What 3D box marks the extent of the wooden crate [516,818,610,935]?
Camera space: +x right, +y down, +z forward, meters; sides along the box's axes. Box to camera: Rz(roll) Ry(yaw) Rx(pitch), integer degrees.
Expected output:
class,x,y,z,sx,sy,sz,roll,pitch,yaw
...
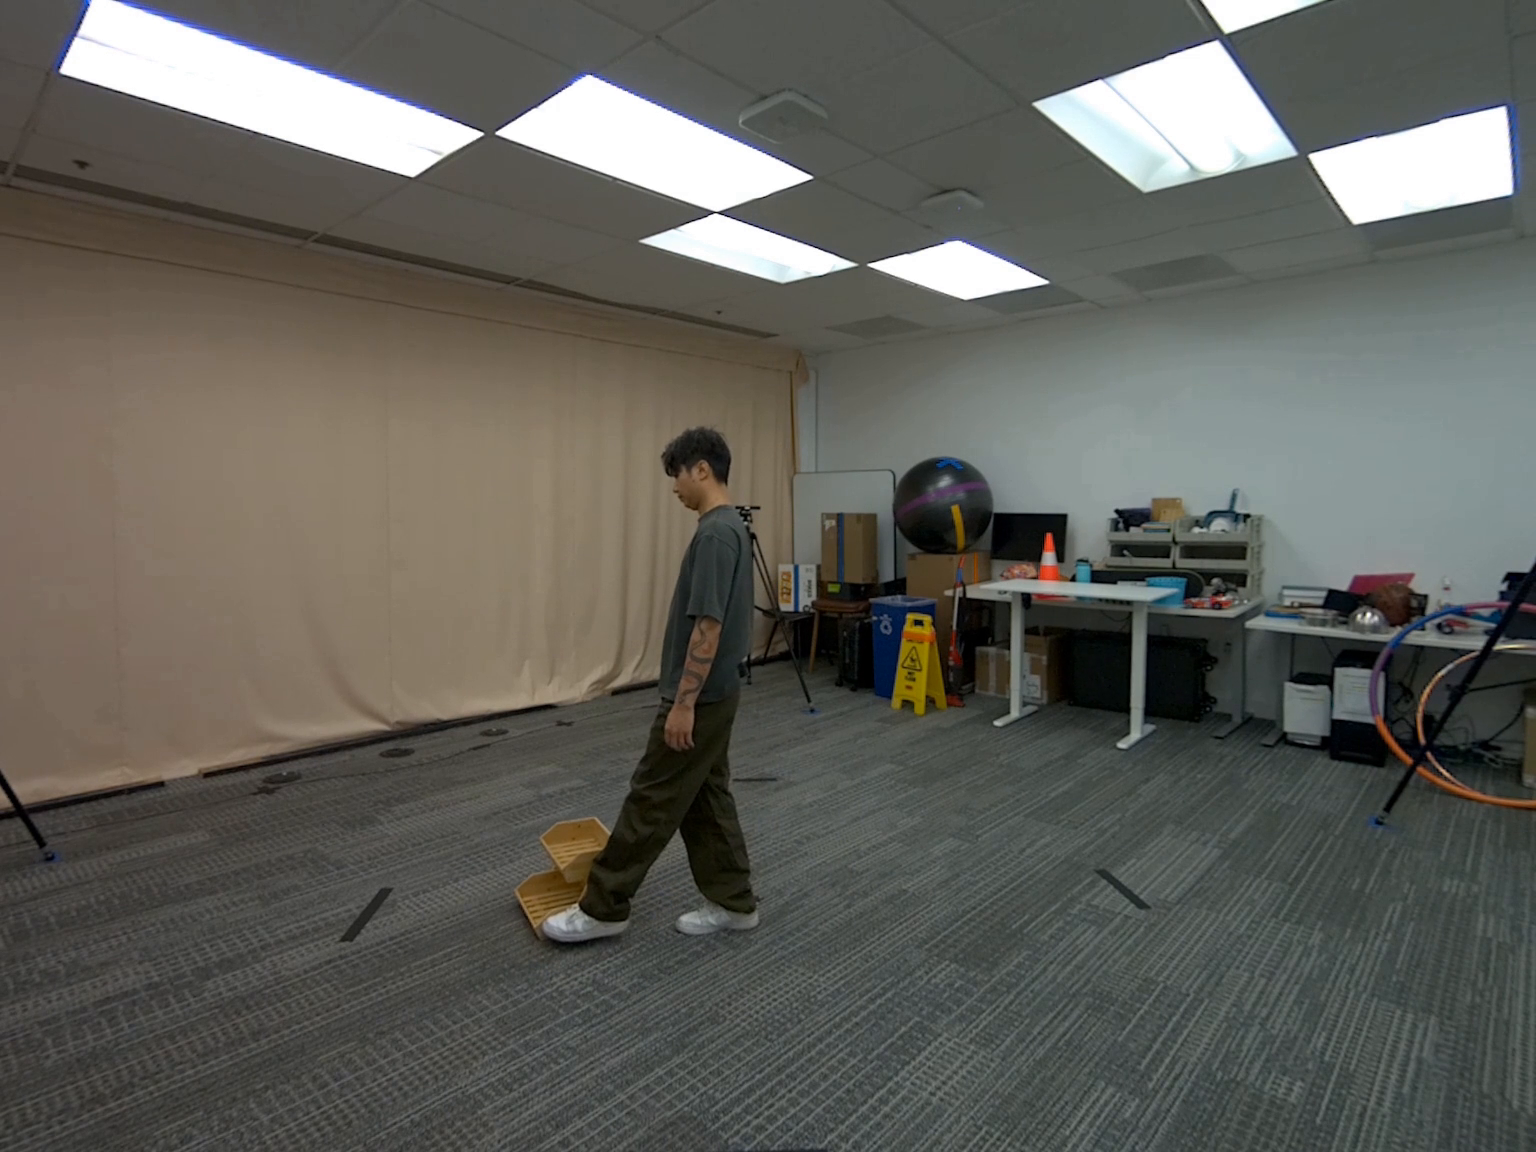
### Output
class,x,y,z,sx,sy,sz,roll,pitch,yaw
wooden crate,-0.693,1.025,2.884,0.294,0.273,0.333,-3,4,-28
